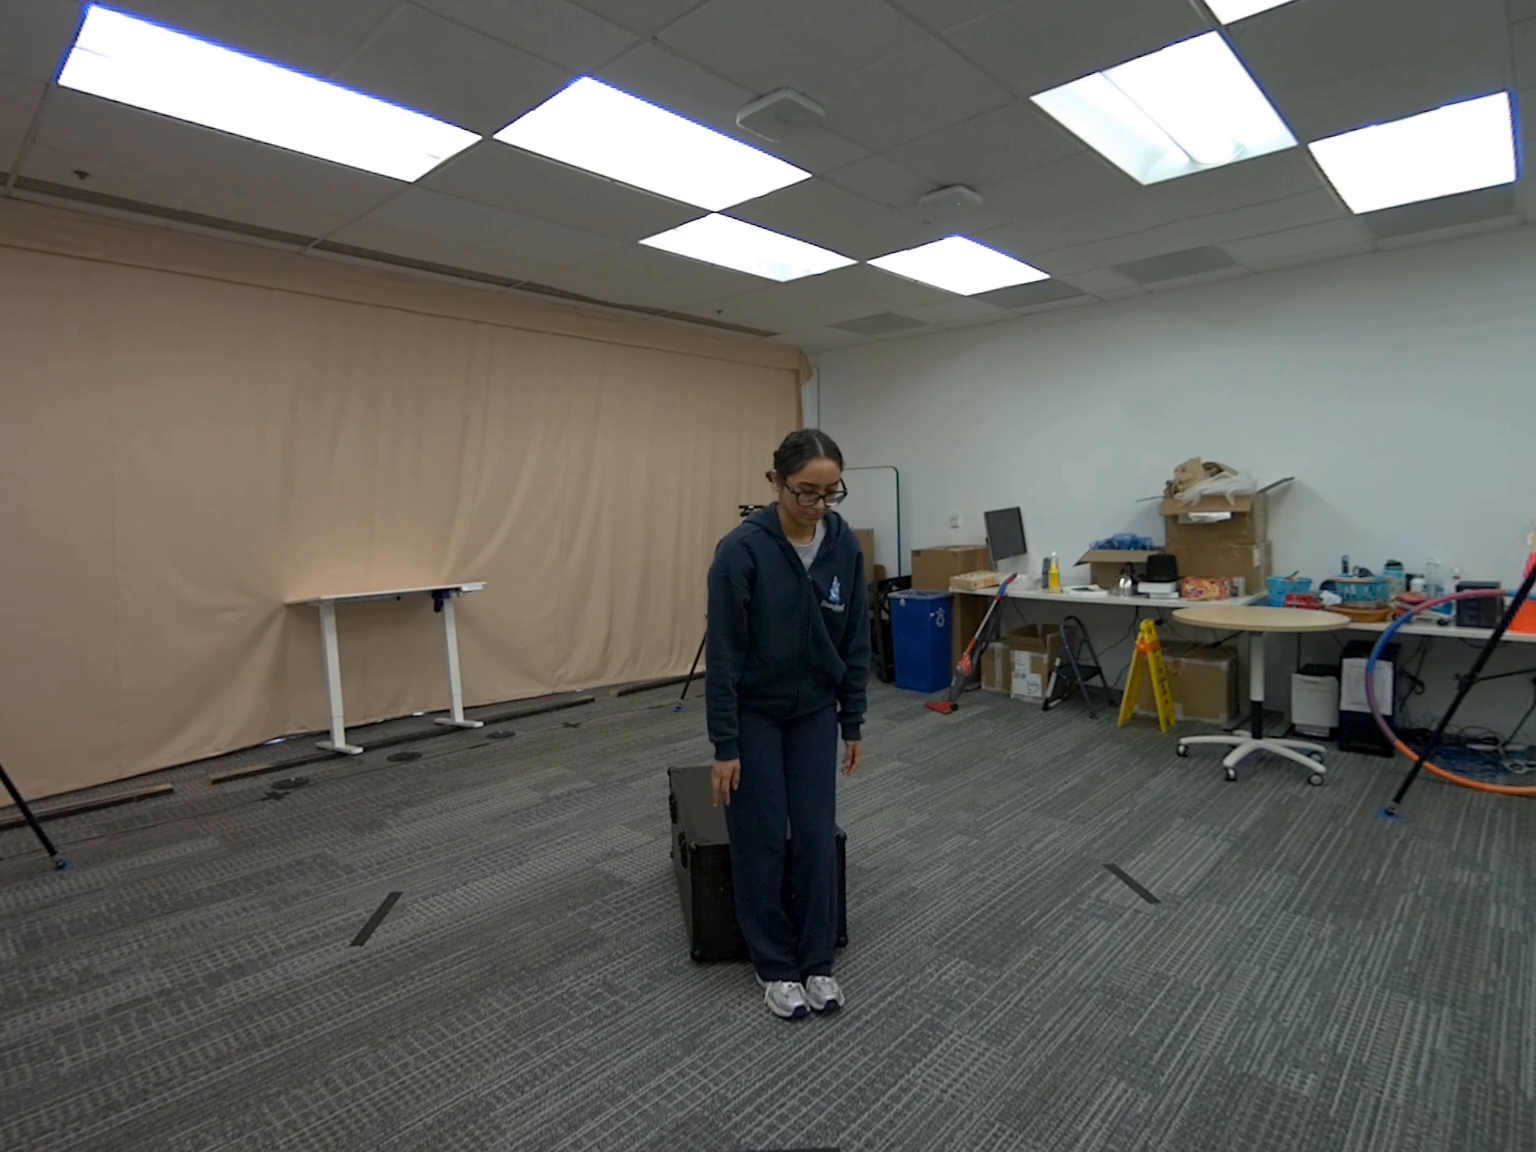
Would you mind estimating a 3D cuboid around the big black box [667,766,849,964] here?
[{"bbox_3d":[-0.075,0.949,2.972,0.516,0.395,0.873,-2,5,-11],"label":"big black box"}]
